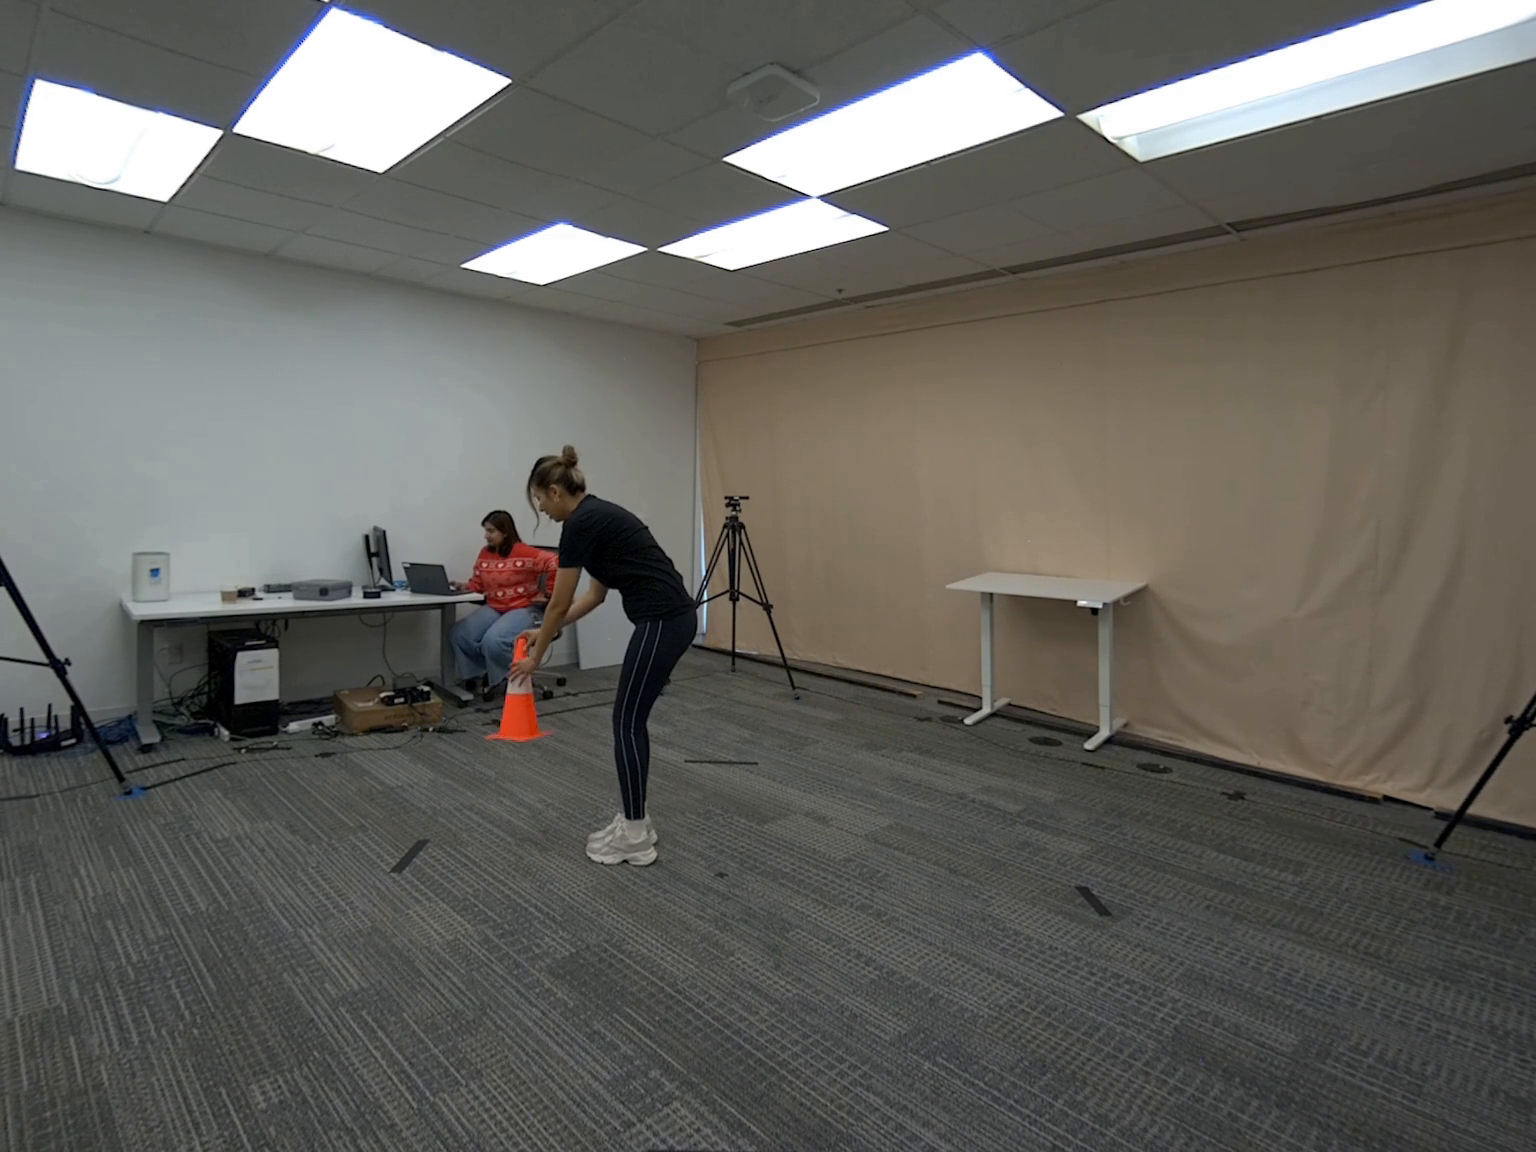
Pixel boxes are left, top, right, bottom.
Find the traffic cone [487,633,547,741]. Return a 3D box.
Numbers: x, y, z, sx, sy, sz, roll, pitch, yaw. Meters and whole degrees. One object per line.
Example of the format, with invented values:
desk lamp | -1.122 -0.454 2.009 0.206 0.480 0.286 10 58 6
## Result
traffic cone | -0.989 0.449 3.379 0.207 0.385 0.200 -1 -4 29
